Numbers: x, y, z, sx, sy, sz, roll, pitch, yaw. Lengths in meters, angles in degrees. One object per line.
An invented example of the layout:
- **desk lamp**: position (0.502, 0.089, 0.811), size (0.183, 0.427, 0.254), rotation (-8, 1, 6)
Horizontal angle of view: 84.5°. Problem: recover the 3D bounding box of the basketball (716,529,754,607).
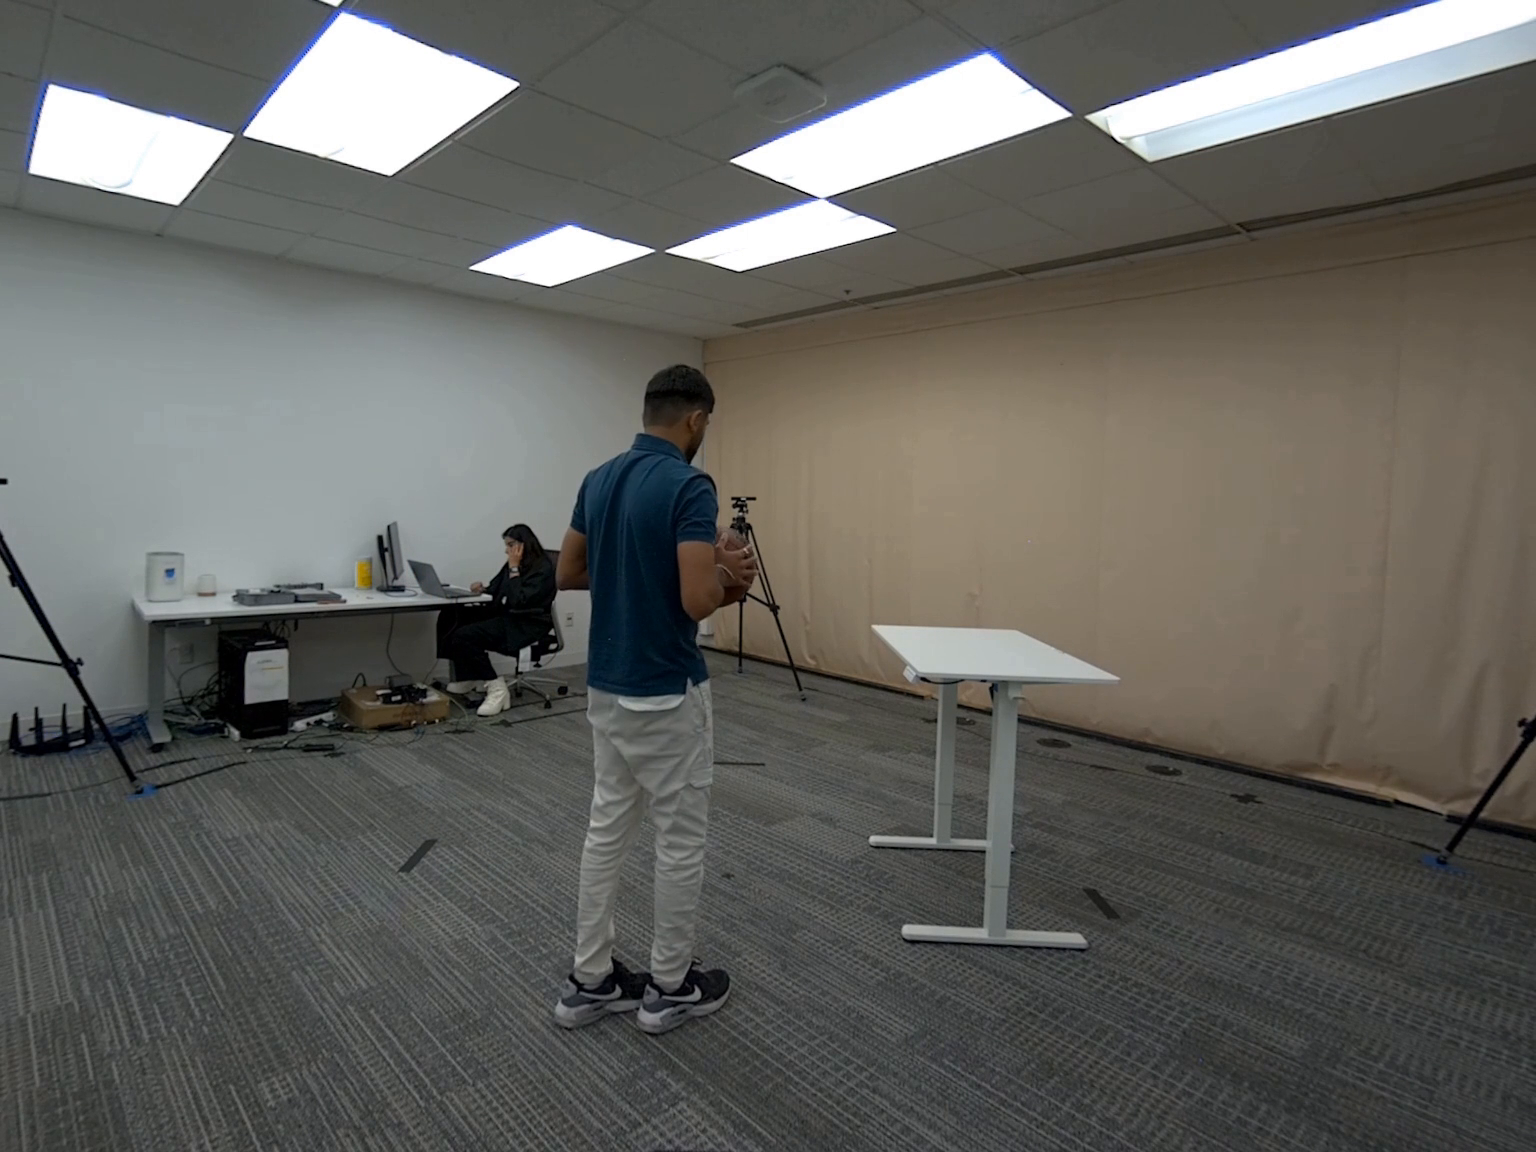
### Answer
- **basketball**: position (-0.148, -0.025, 2.410), size (0.236, 0.235, 0.237), rotation (1, 4, -1)
